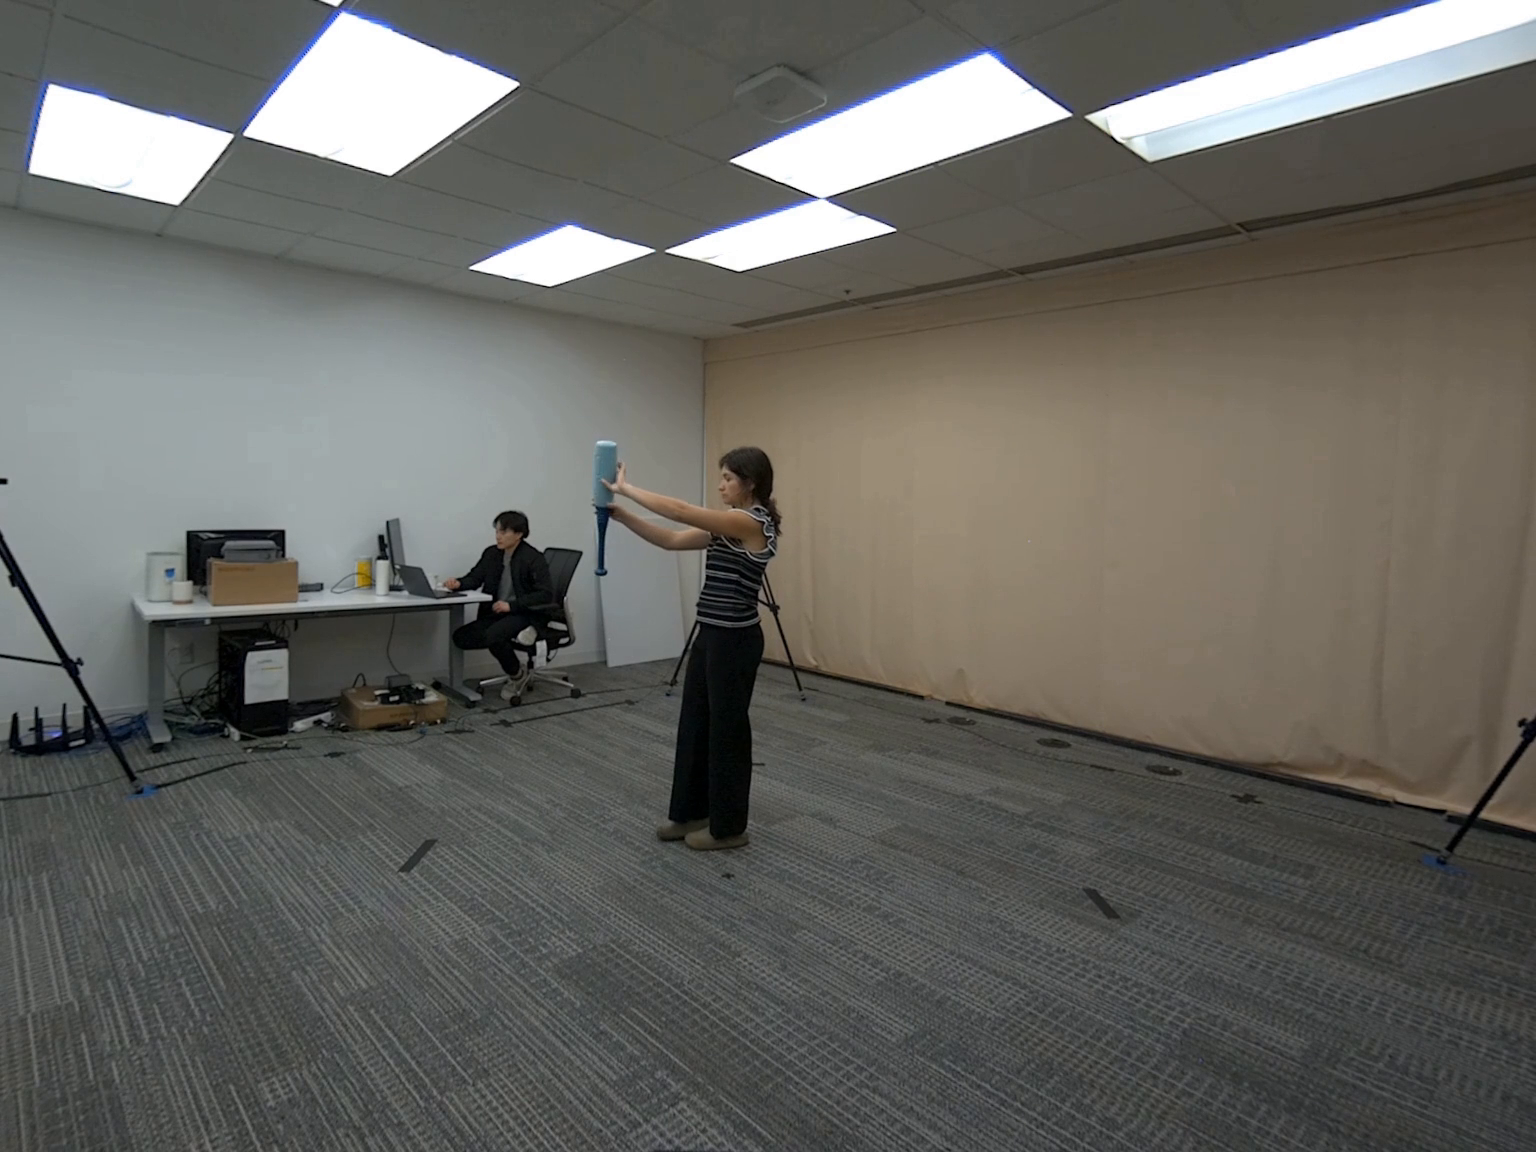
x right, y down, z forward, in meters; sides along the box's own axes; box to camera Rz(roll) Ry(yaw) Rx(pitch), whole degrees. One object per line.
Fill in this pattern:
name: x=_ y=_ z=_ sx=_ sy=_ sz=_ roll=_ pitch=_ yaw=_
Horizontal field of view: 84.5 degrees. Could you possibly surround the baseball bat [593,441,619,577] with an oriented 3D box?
baseball bat: x=-0.662 y=-0.262 z=3.299 sx=0.089 sy=0.537 sz=0.090 roll=6 pitch=18 yaw=-3
